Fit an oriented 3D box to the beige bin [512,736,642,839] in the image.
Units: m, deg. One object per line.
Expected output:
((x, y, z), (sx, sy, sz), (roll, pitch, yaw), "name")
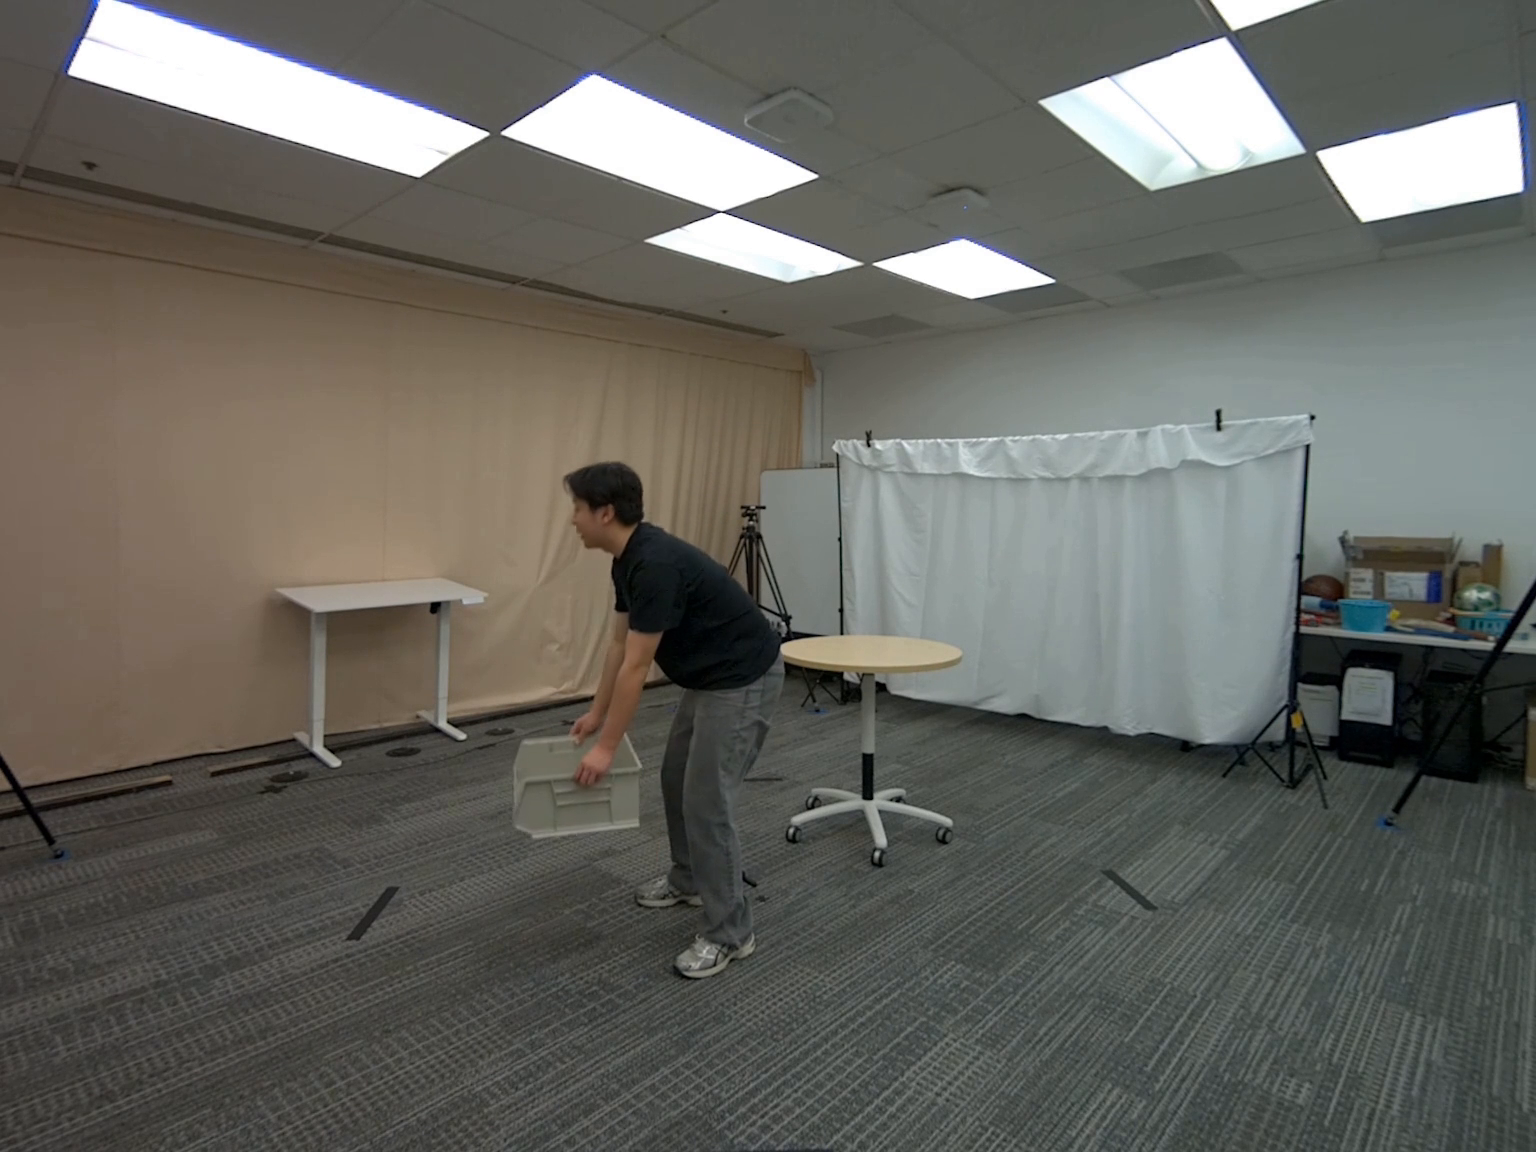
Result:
((-0.601, 0.655, 2.644), (0.371, 0.188, 0.430), (-1, 4, -17), "beige bin")
